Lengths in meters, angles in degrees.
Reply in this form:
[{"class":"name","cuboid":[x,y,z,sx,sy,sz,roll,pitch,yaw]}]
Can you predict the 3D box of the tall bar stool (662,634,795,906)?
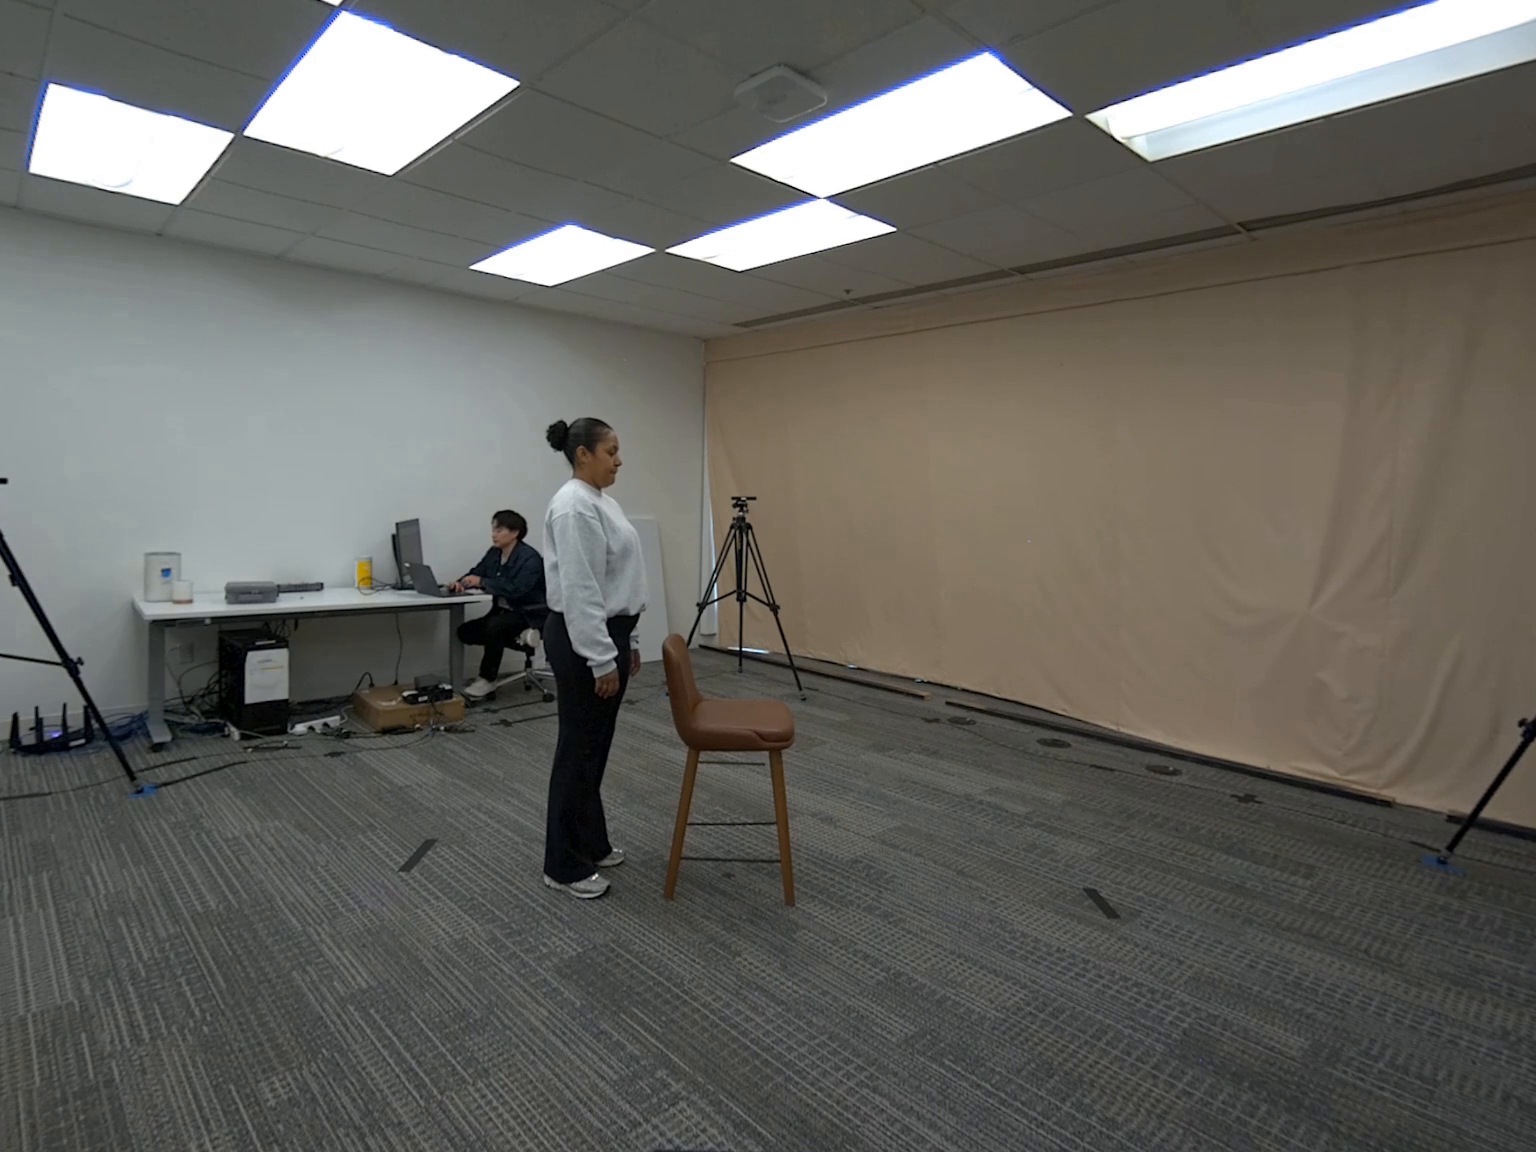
[{"class":"tall bar stool","cuboid":[-0.151,0.674,3.067,0.468,0.887,0.457,0,4,0]}]
